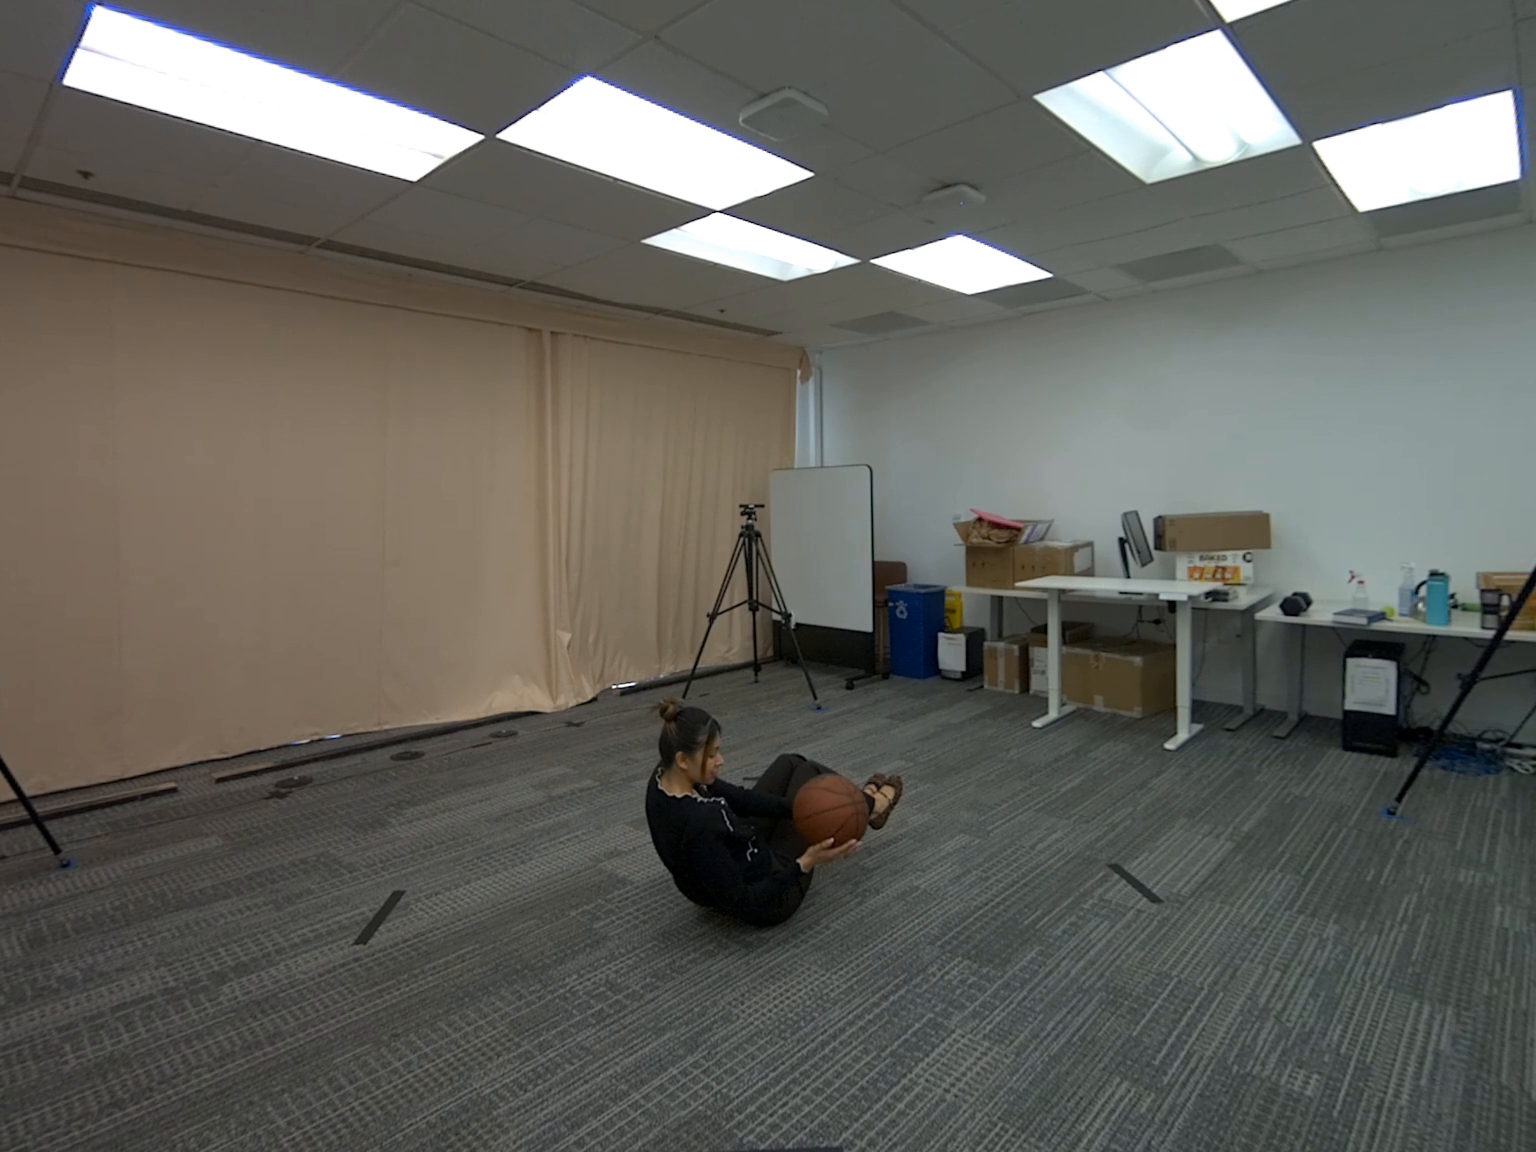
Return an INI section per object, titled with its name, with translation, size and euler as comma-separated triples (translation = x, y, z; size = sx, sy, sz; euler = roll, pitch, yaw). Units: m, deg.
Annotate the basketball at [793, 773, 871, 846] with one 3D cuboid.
[basketball]
translation = 0.194, 0.739, 2.619
size = 0.236, 0.235, 0.237
euler = -1, 4, -2
